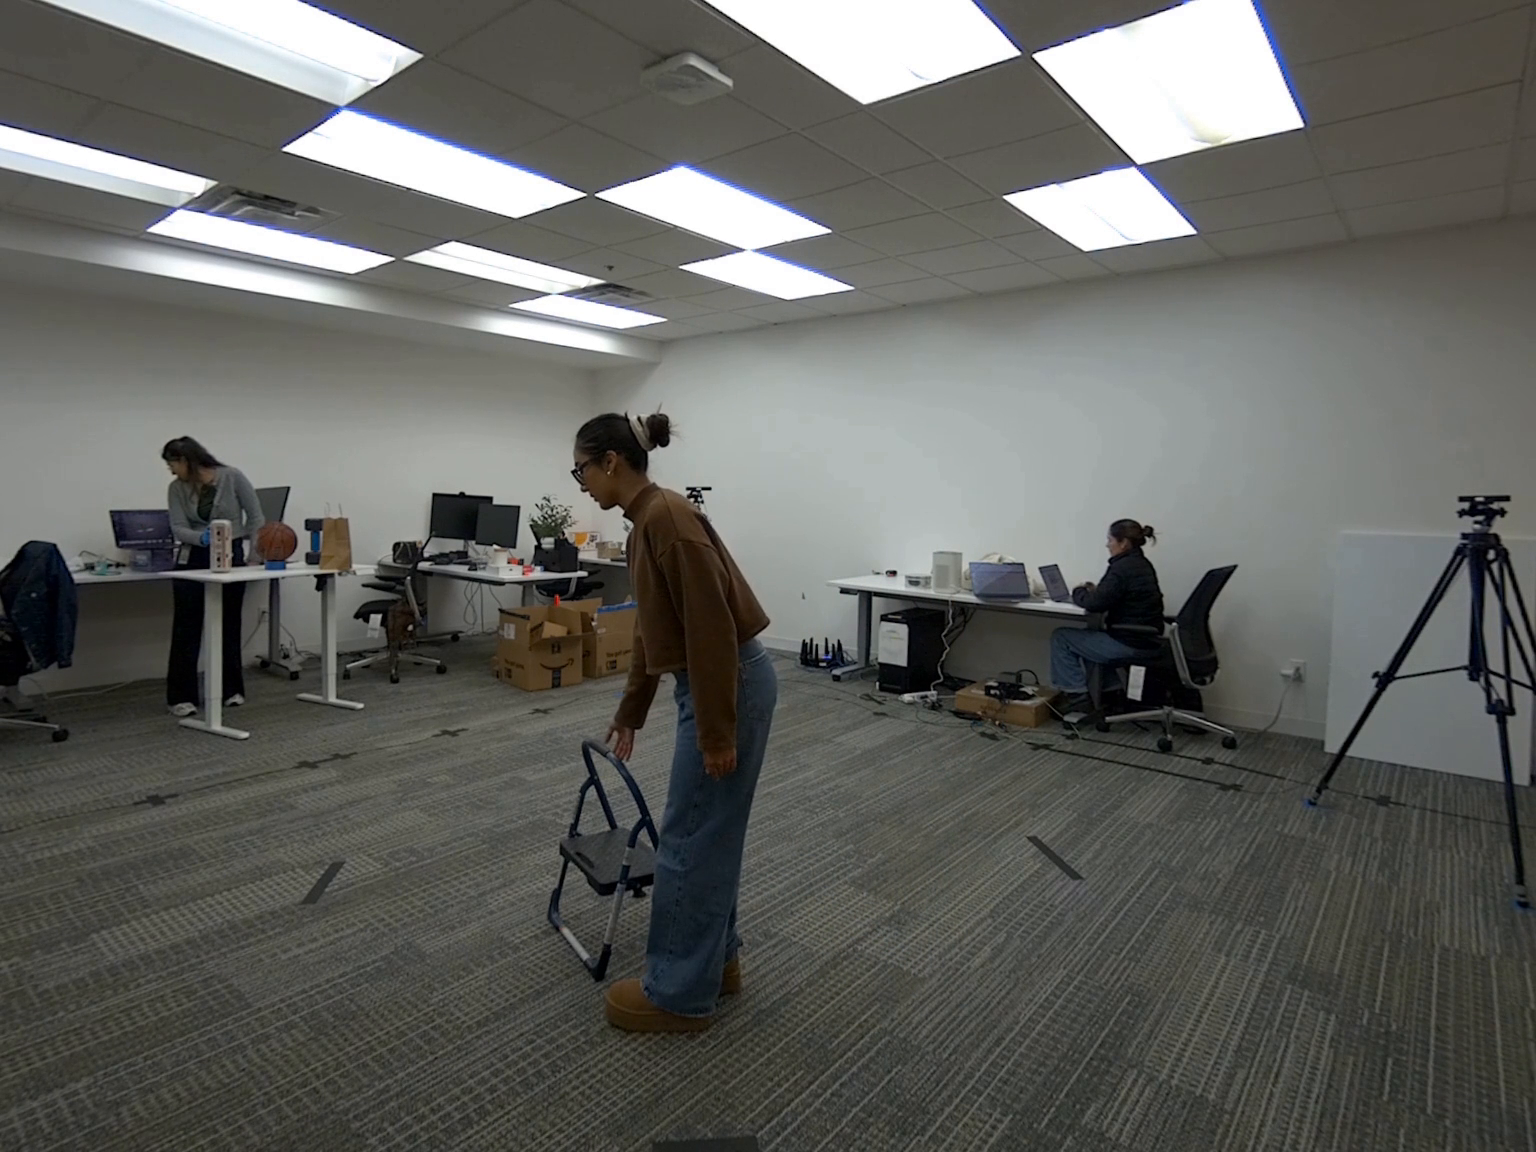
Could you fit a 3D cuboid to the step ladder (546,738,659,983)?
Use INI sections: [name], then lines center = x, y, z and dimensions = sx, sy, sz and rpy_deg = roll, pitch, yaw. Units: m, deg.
[step ladder]
center = -0.462, 0.807, 2.624
dimensions = 0.339, 0.604, 0.444
rpy_deg = -2, 5, -34
